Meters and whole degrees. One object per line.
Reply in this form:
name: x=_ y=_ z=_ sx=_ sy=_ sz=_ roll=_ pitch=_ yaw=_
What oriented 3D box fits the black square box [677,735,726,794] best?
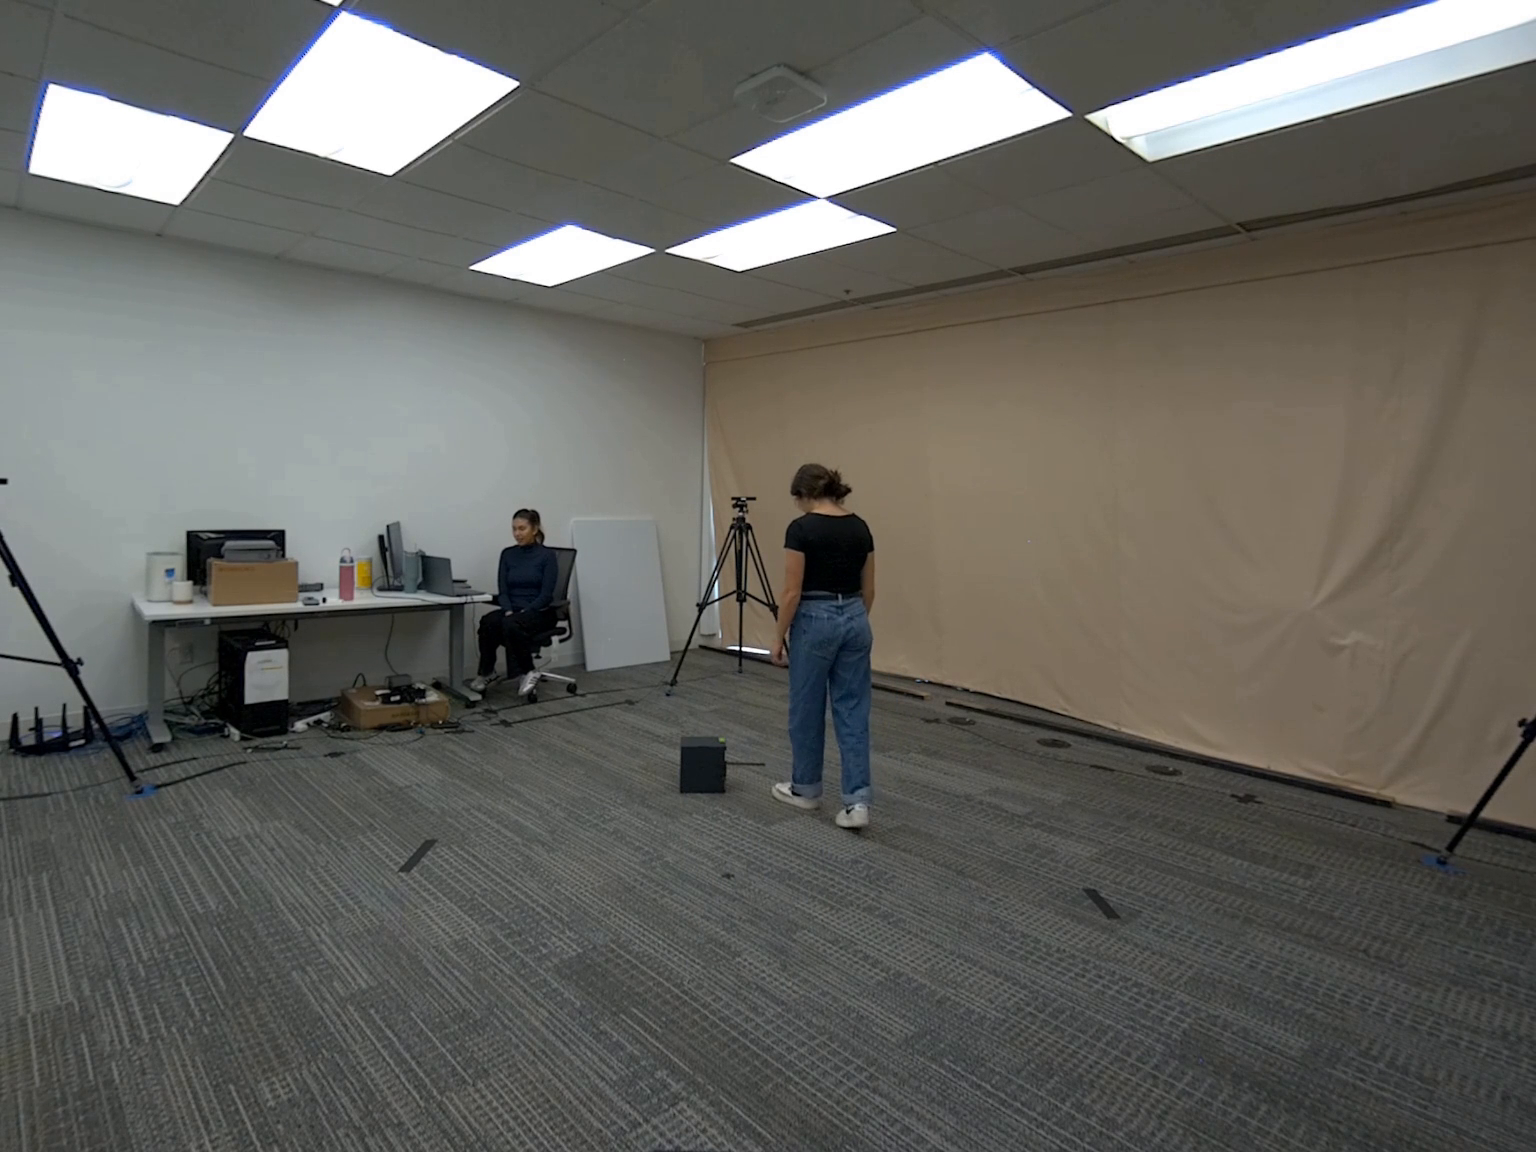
black square box: x=-0.322 y=0.896 z=4.045 sx=0.216 sy=0.227 sz=0.157 roll=1 pitch=5 yaw=-5
